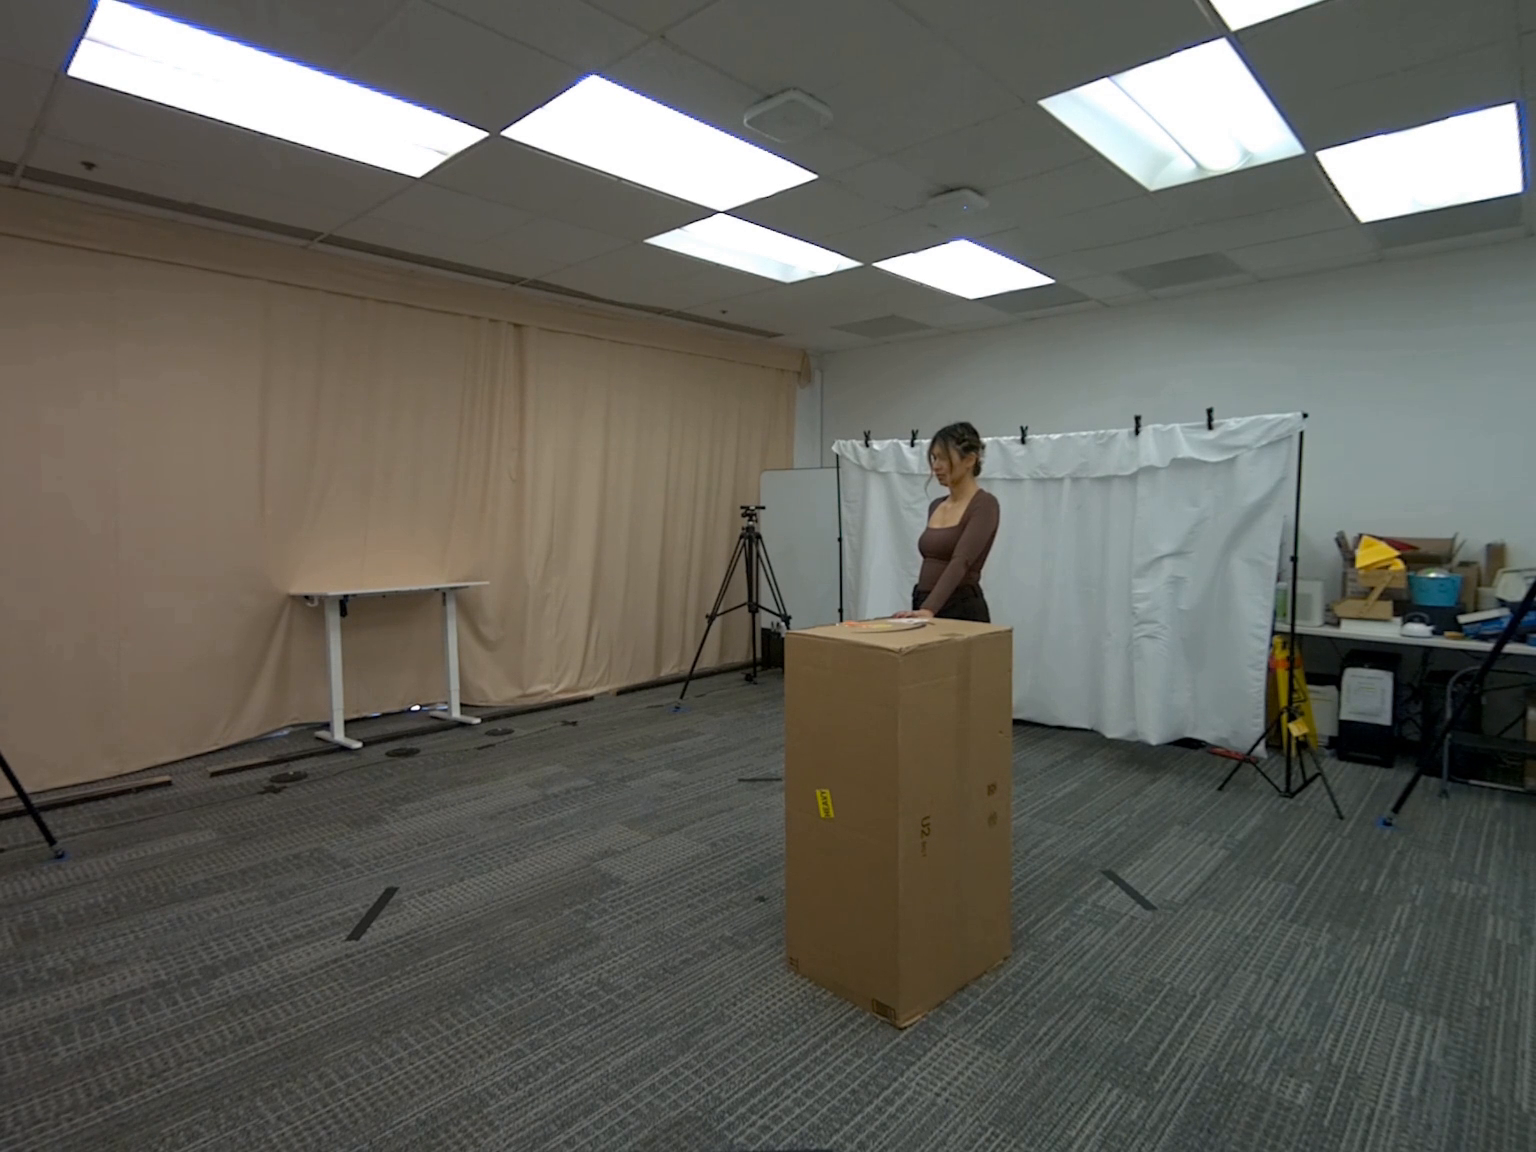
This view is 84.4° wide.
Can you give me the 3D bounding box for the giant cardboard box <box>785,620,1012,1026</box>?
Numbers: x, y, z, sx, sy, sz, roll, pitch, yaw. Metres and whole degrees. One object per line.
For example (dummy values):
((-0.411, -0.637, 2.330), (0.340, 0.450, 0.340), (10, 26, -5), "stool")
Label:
((0.404, 0.670, 2.553), (0.566, 1.025, 0.461), (-3, 3, -41), "giant cardboard box")
